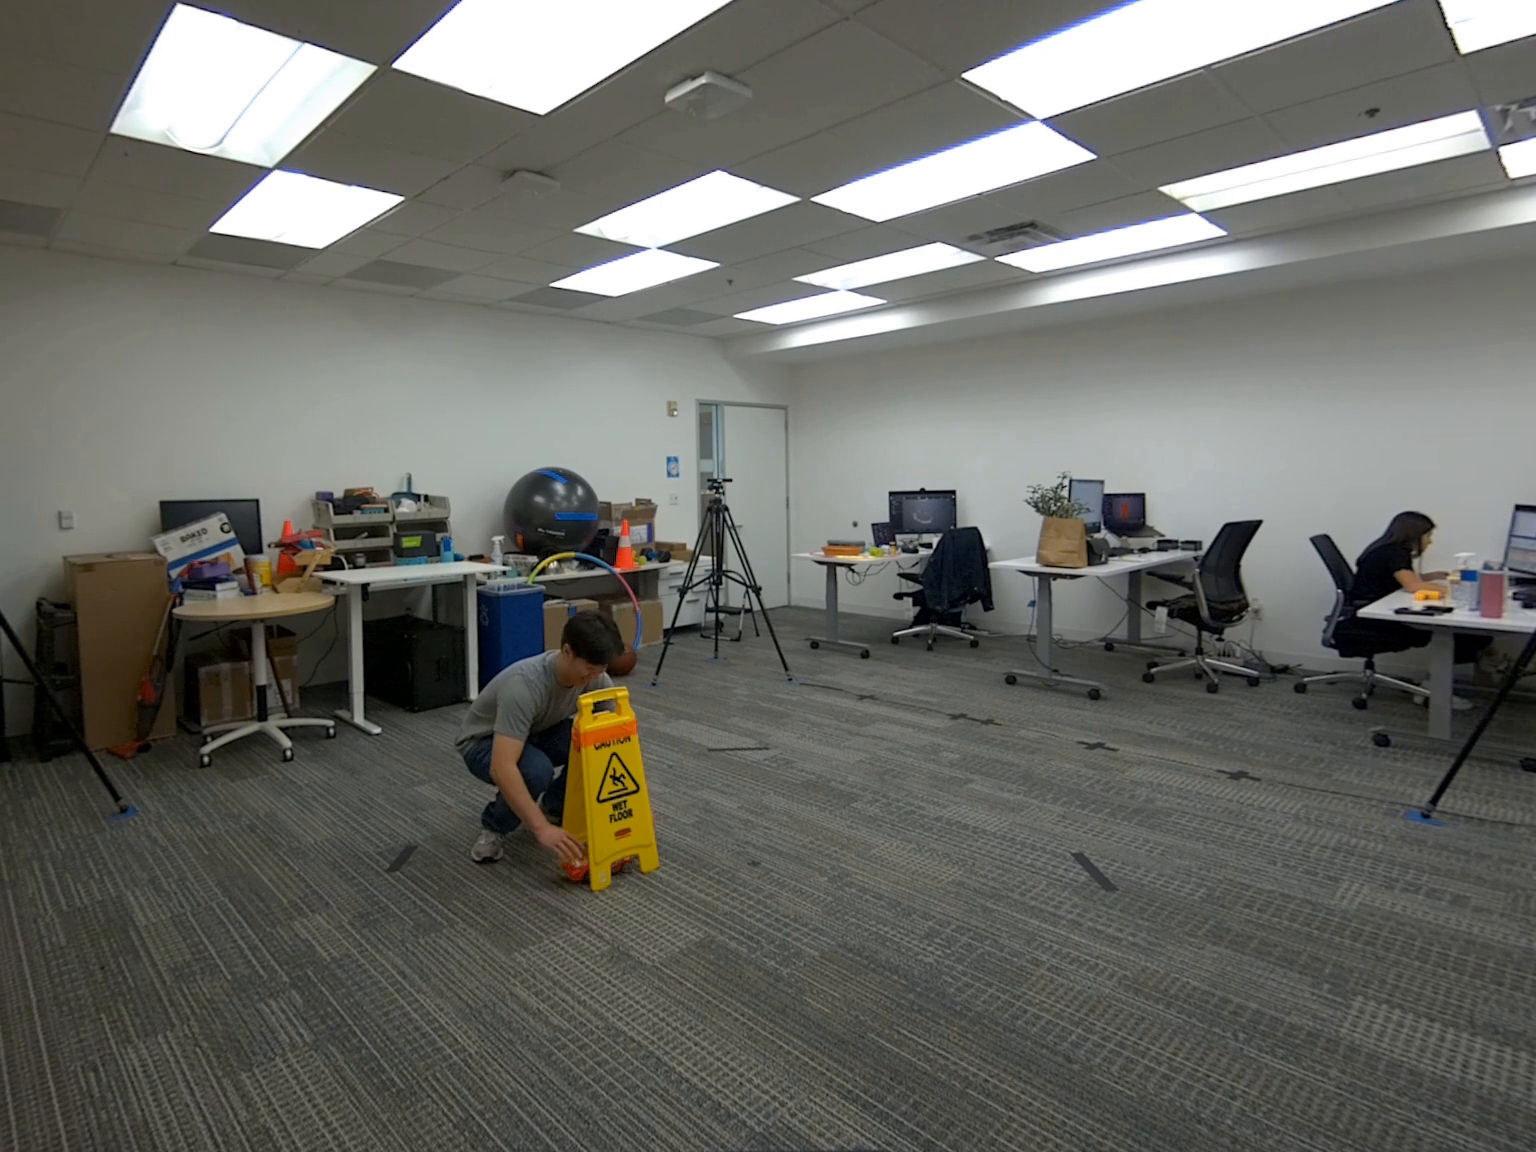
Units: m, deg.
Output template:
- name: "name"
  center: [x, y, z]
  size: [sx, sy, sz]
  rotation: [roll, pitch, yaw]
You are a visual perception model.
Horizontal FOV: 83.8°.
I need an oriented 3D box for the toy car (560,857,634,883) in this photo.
- name: "toy car"
  center: [-0.632, 1.039, 3.036]
  size: [0.247, 0.083, 0.134]
  rotation: [5, 0, -32]
